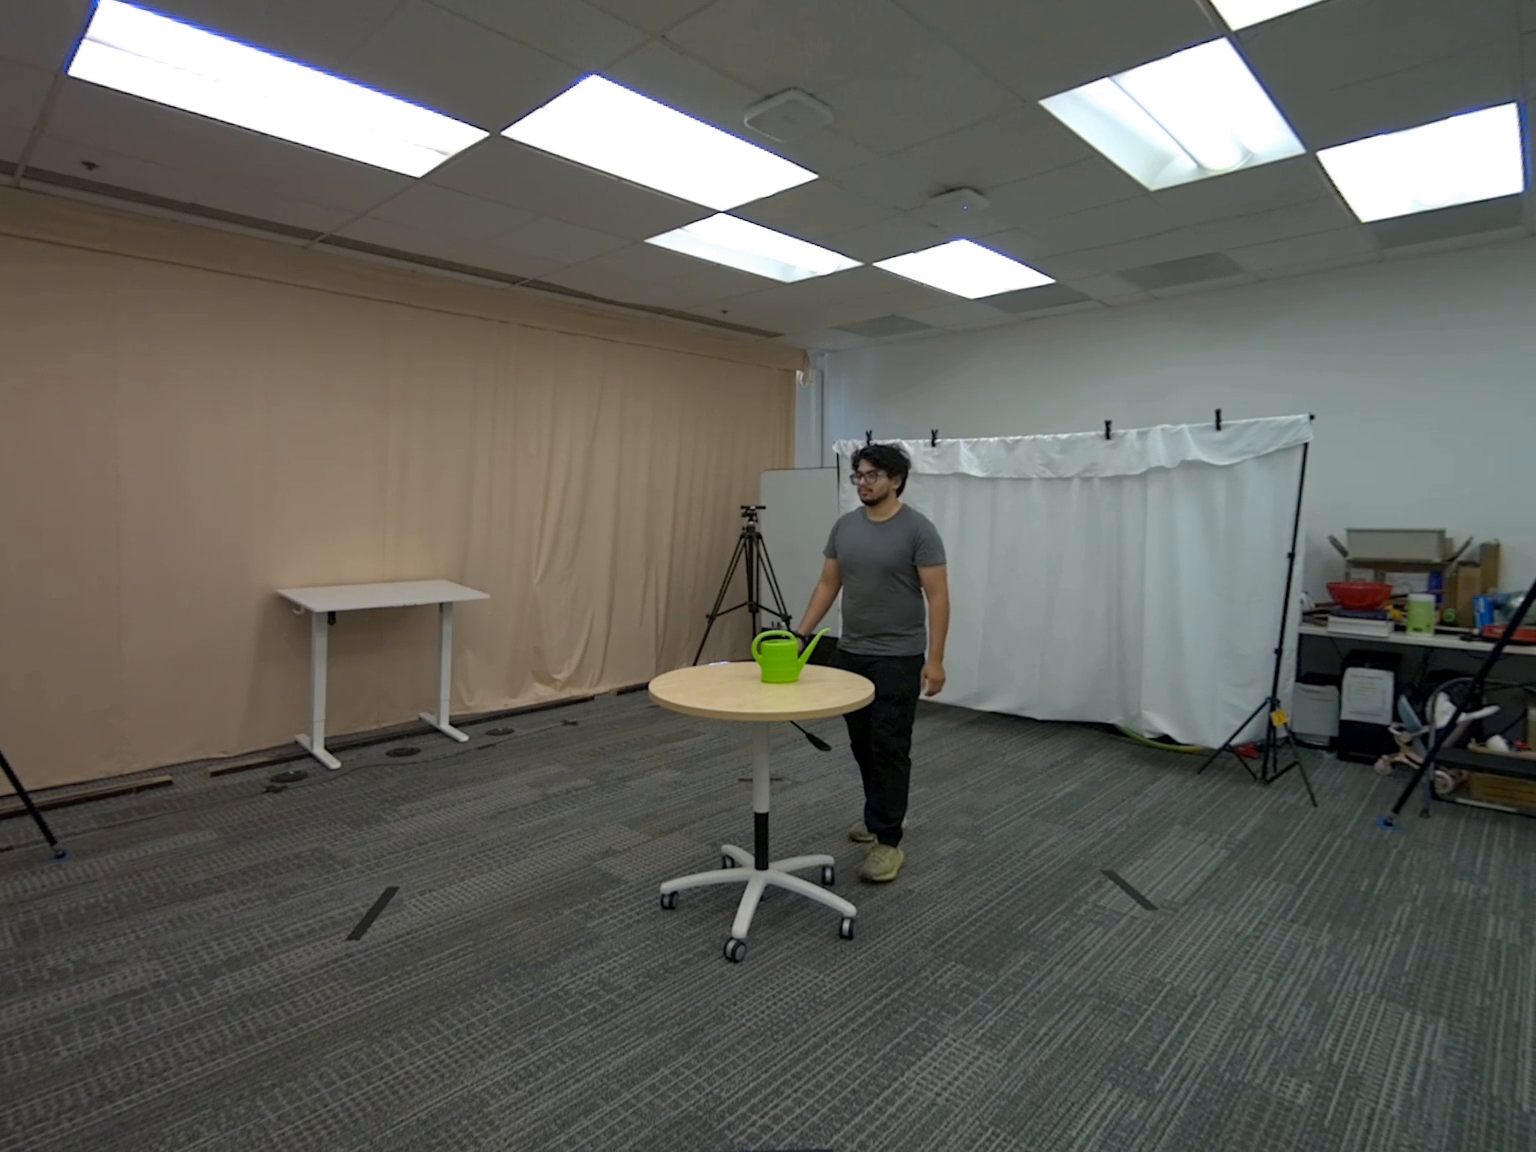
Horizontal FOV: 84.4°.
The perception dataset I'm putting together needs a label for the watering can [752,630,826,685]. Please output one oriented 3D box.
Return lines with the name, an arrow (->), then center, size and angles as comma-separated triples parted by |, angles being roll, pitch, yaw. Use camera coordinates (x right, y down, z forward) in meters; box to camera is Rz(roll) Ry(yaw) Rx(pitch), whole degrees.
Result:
watering can -> 0.087, 0.283, 2.913 | 0.279, 0.176, 0.098 | 0, 5, 4
